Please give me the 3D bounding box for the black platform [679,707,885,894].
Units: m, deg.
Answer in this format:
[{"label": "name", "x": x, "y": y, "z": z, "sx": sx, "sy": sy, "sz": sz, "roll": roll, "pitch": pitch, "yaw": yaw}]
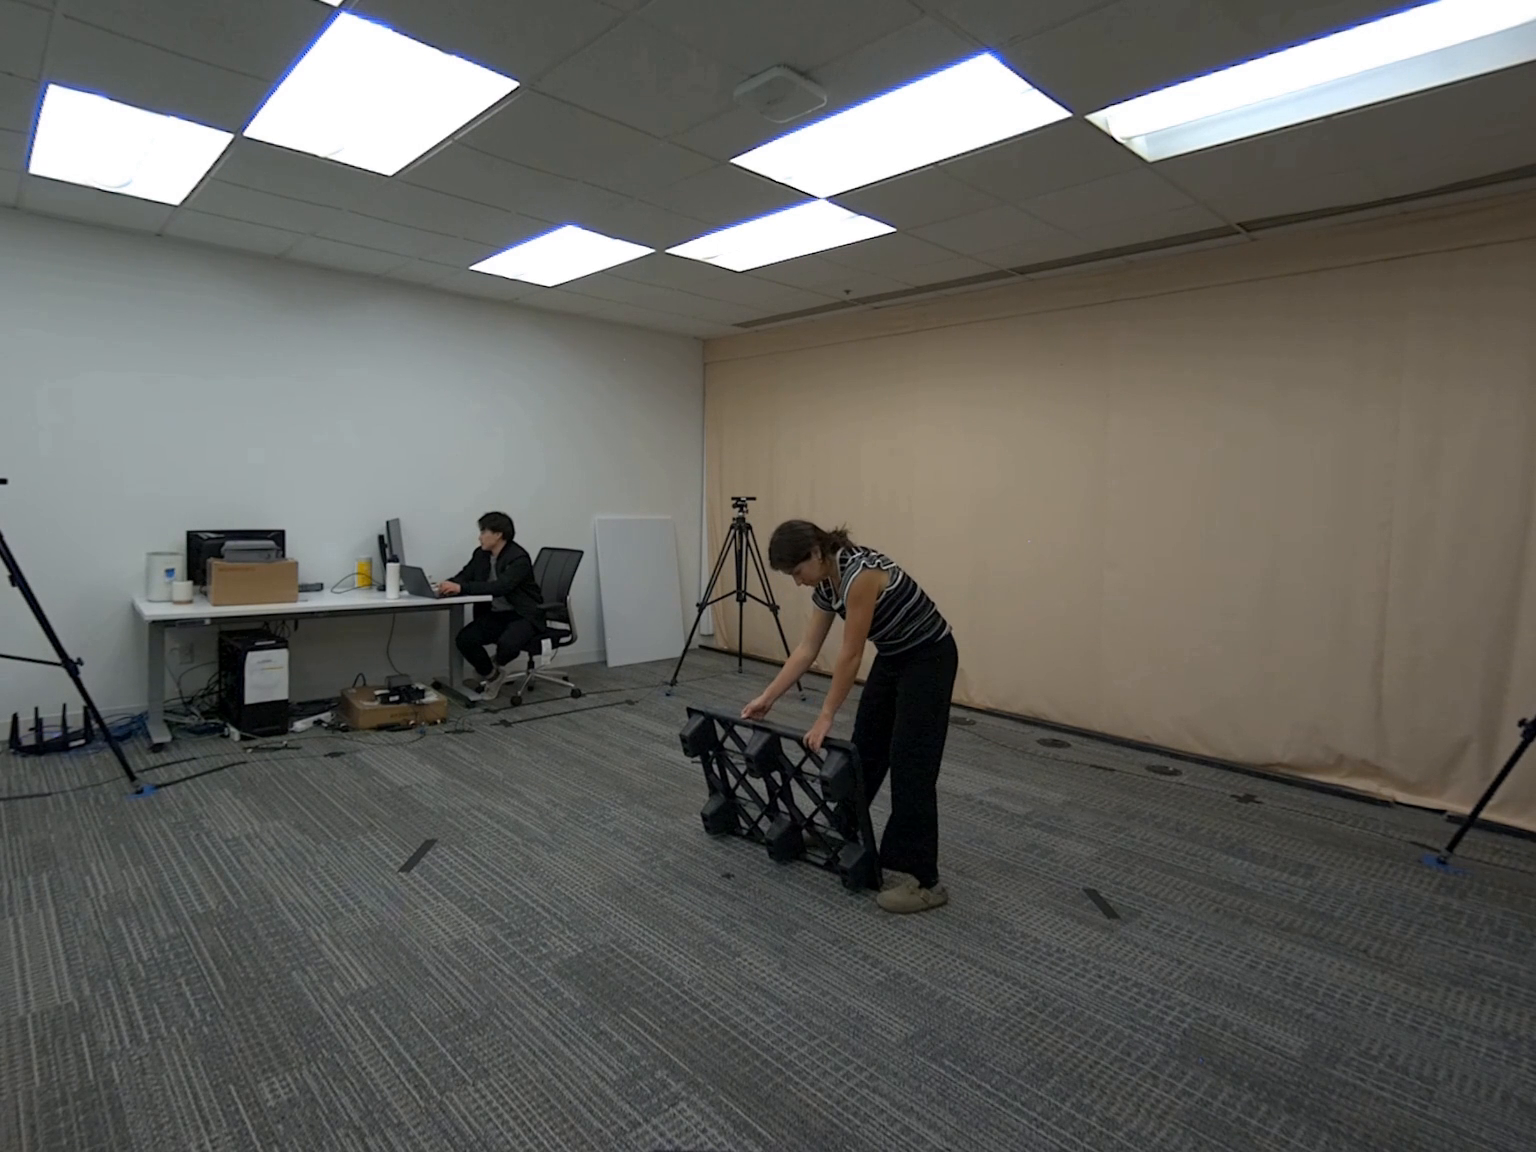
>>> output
[{"label": "black platform", "x": 0.011, "y": 0.833, "z": 3.163, "sx": 0.826, "sy": 0.595, "sz": 0.142, "roll": 5, "pitch": 25, "yaw": 41}]
